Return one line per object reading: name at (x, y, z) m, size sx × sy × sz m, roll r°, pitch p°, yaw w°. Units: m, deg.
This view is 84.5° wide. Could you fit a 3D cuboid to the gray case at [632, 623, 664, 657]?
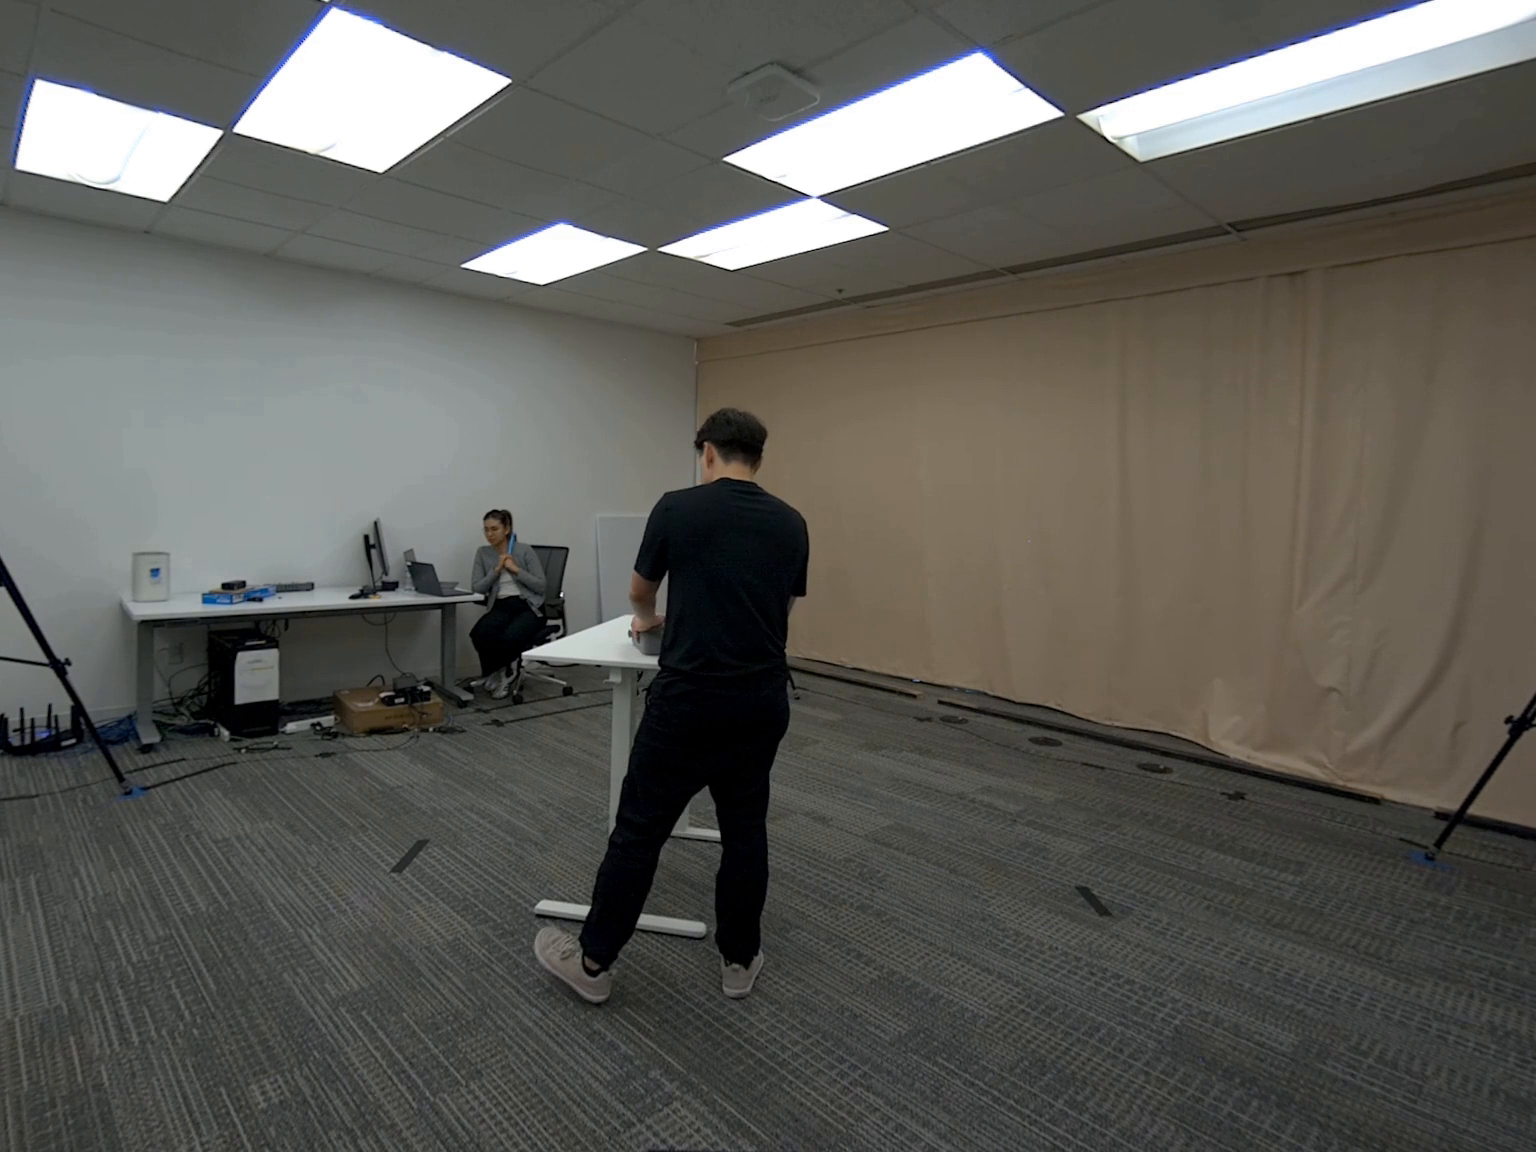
gray case at (-0.332, 0.196, 2.809) m, size 0.254 × 0.104 × 0.264 m, roll -1°, pitch 6°, yaw -16°
